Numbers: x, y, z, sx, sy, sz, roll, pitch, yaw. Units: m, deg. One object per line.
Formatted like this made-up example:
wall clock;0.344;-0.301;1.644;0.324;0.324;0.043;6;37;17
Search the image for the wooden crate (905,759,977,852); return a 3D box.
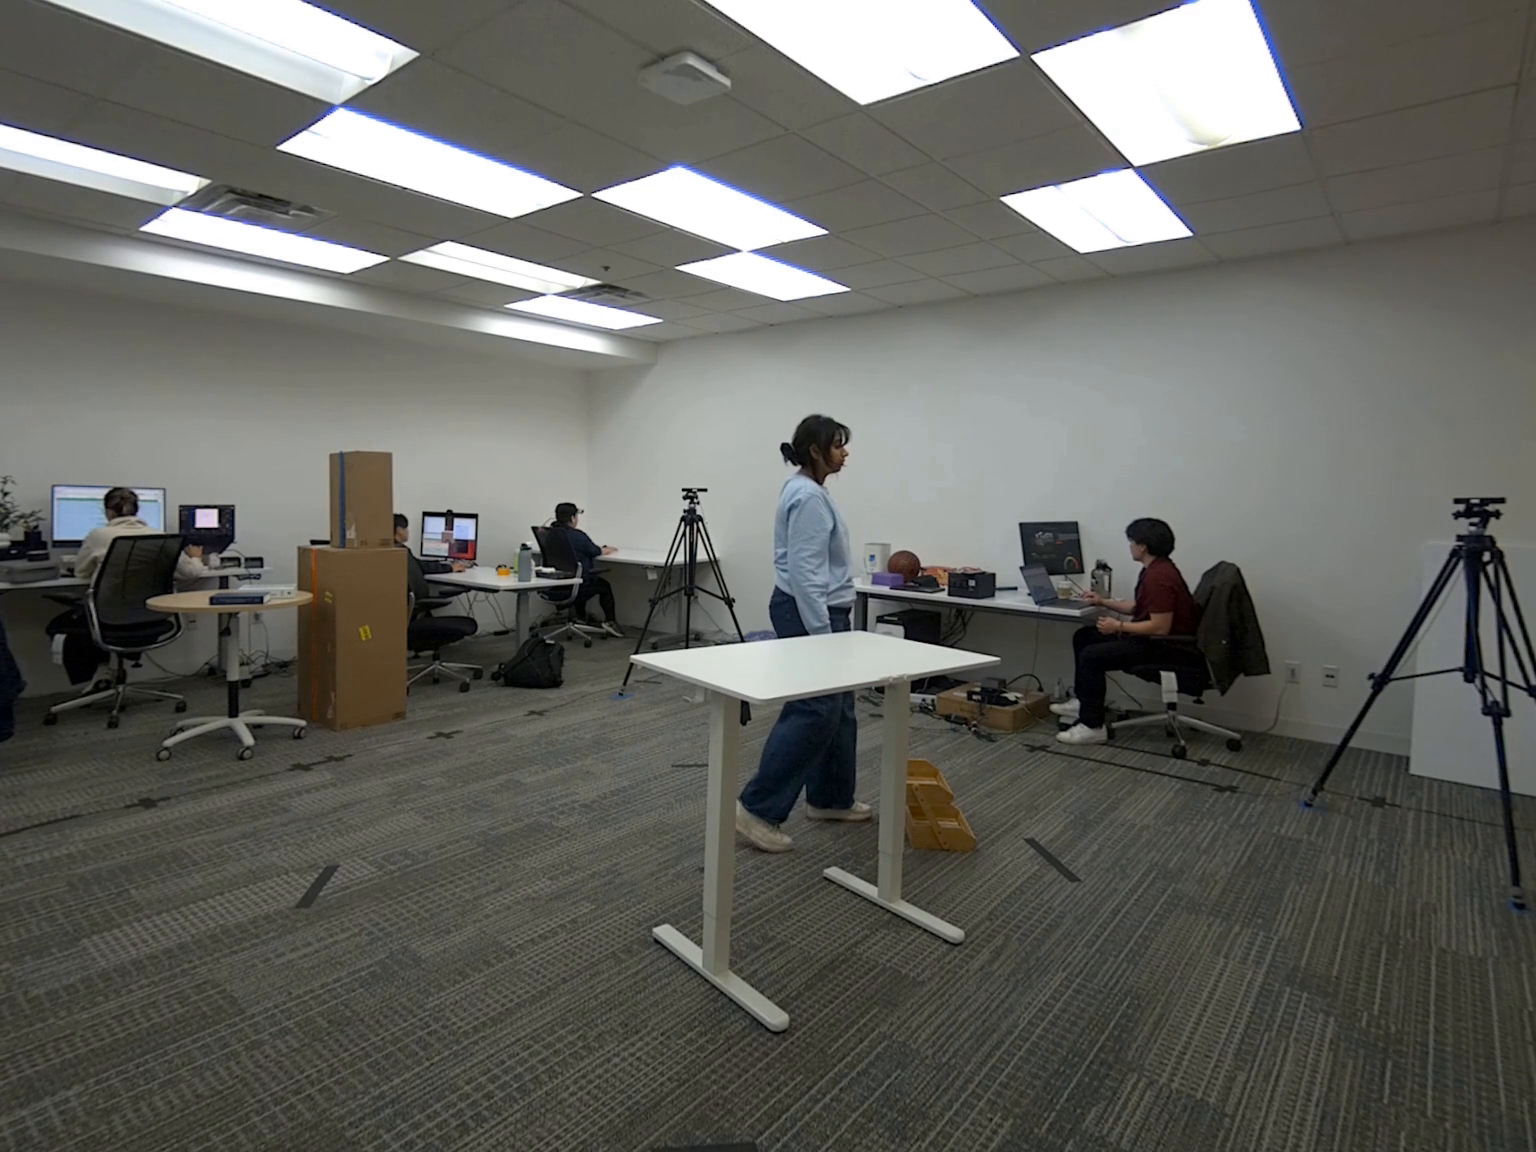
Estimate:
wooden crate;0.673;0.922;3.477;0.303;0.272;0.325;1;4;1
